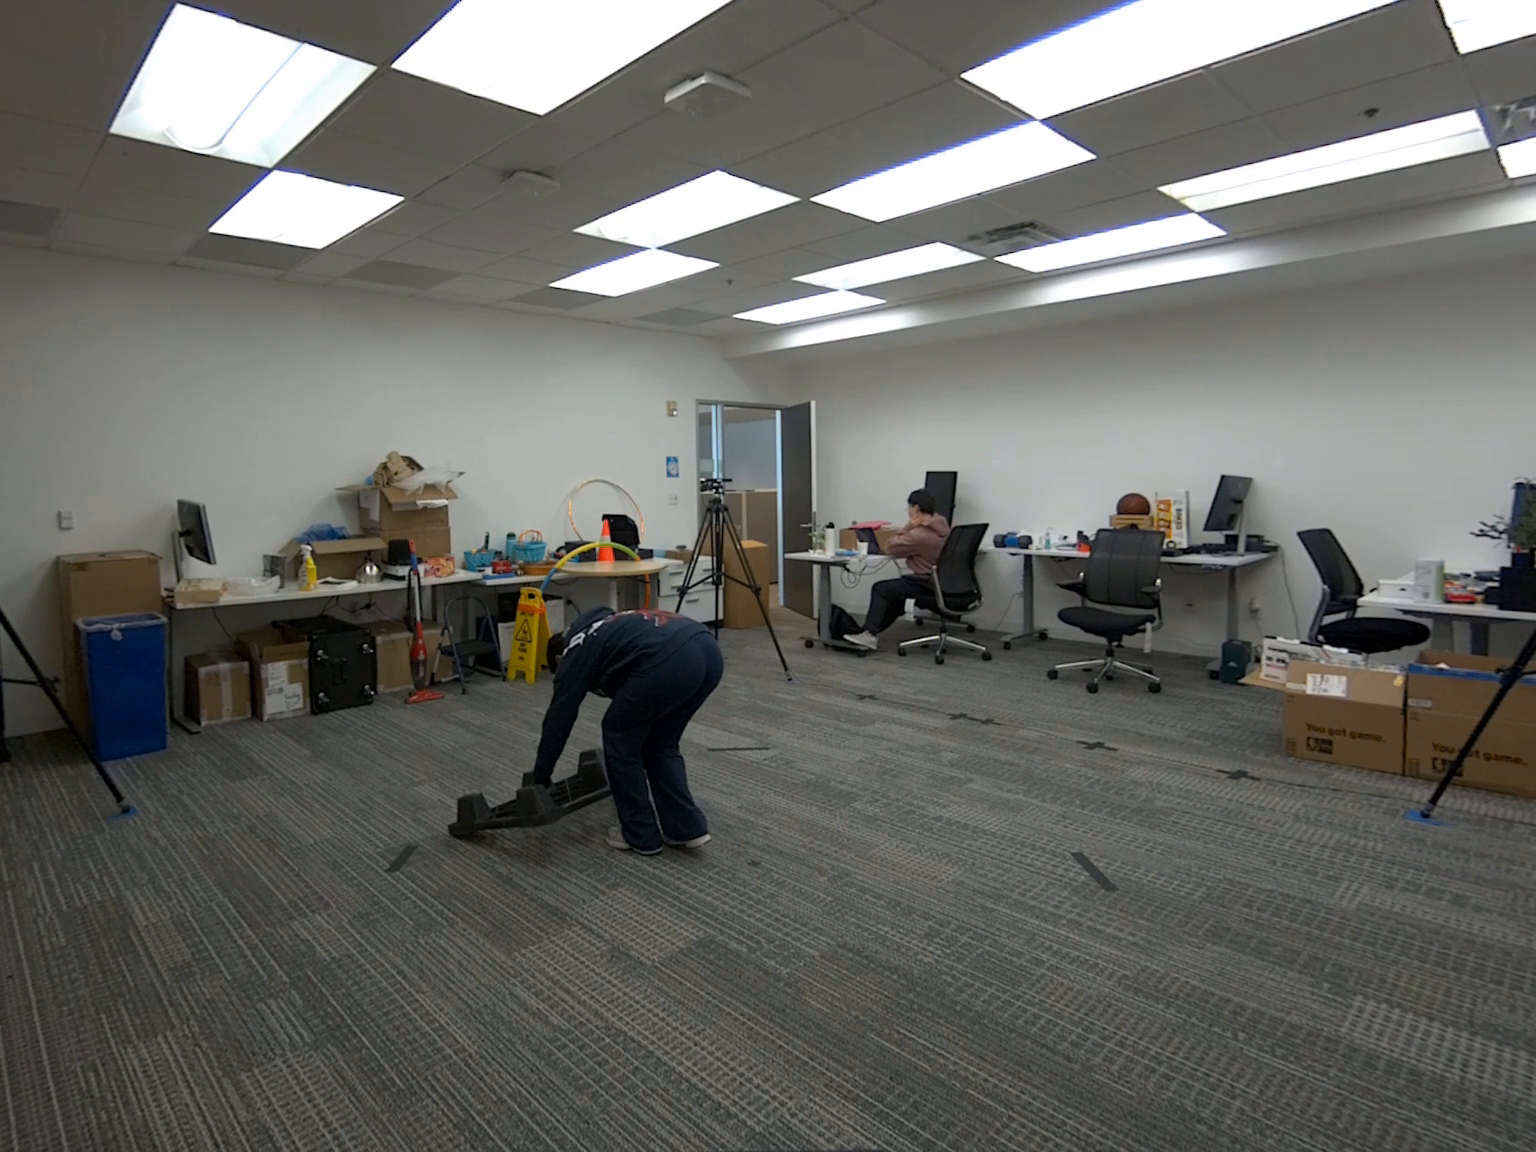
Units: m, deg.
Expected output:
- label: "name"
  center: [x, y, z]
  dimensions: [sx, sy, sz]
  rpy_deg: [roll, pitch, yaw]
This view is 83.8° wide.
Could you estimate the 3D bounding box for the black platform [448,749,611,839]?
- label: "black platform"
  center: [-0.842, 0.870, 3.562]
  dimensions: [0.616, 0.144, 0.787]
  rpy_deg: [-17, -3, 34]
